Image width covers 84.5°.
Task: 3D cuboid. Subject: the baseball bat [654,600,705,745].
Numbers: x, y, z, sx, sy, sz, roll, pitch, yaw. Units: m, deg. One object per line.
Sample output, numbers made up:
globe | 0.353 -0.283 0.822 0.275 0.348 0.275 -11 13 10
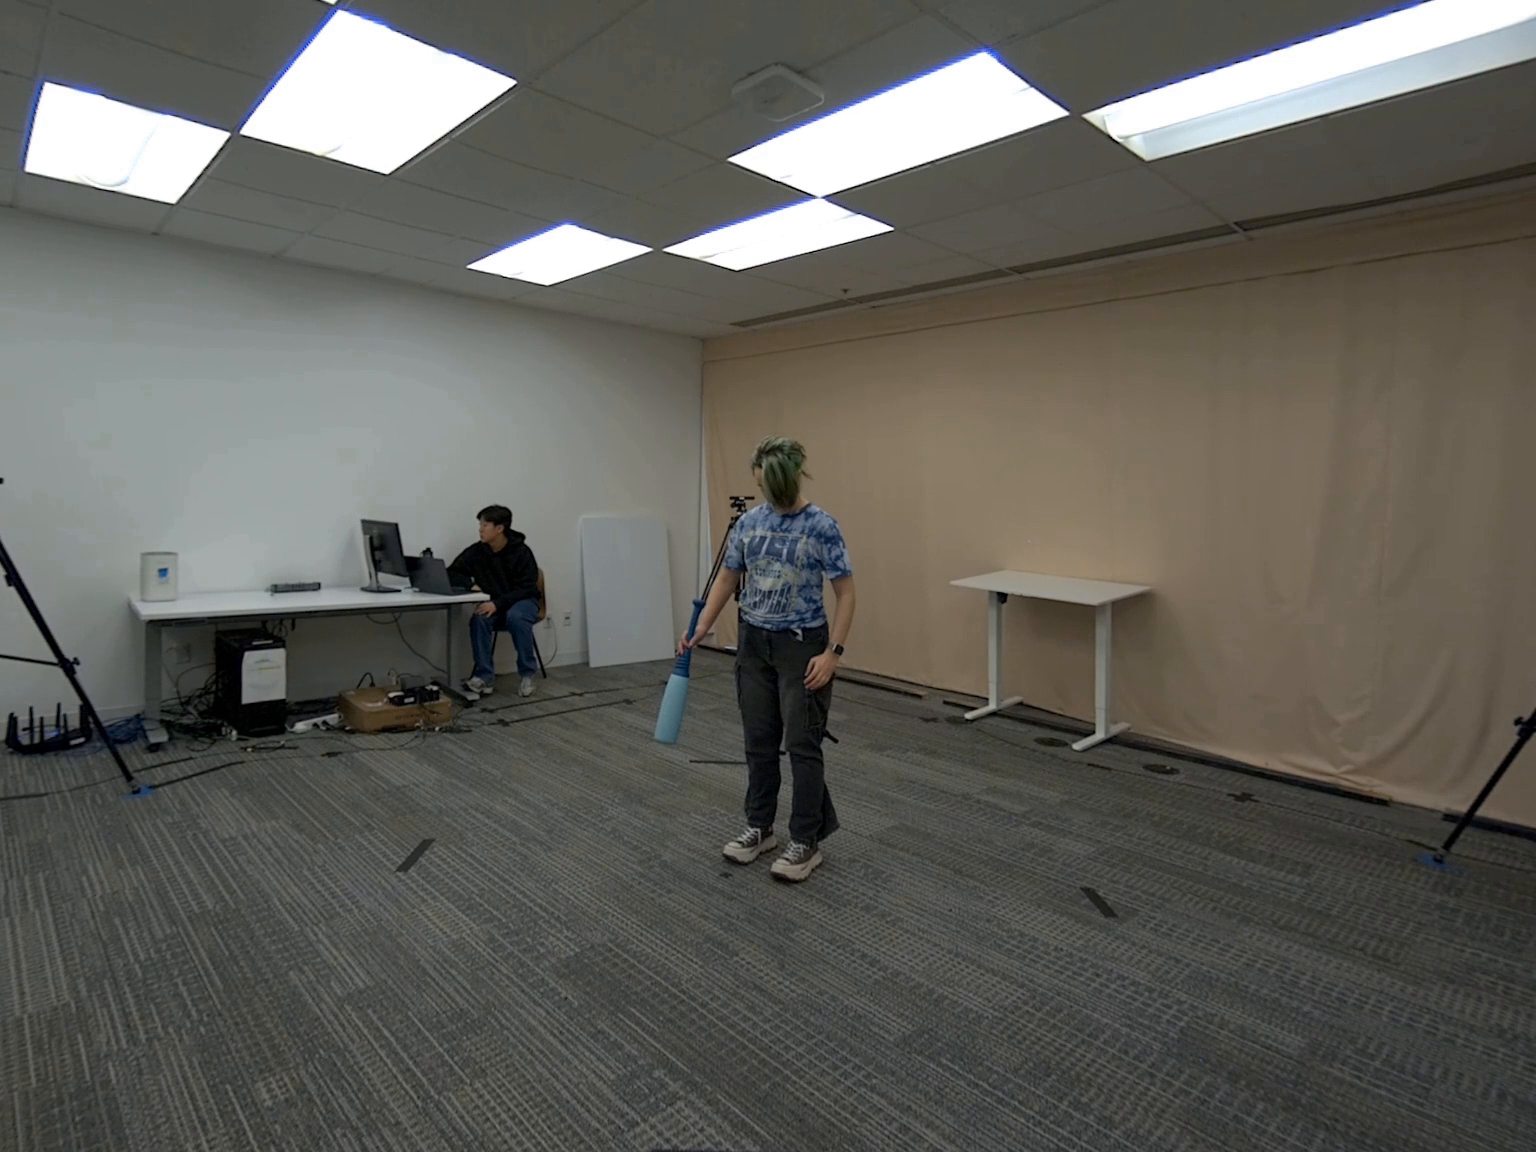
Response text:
baseball bat | -0.321 0.356 3.126 0.089 0.544 0.089 12 -5 -1
